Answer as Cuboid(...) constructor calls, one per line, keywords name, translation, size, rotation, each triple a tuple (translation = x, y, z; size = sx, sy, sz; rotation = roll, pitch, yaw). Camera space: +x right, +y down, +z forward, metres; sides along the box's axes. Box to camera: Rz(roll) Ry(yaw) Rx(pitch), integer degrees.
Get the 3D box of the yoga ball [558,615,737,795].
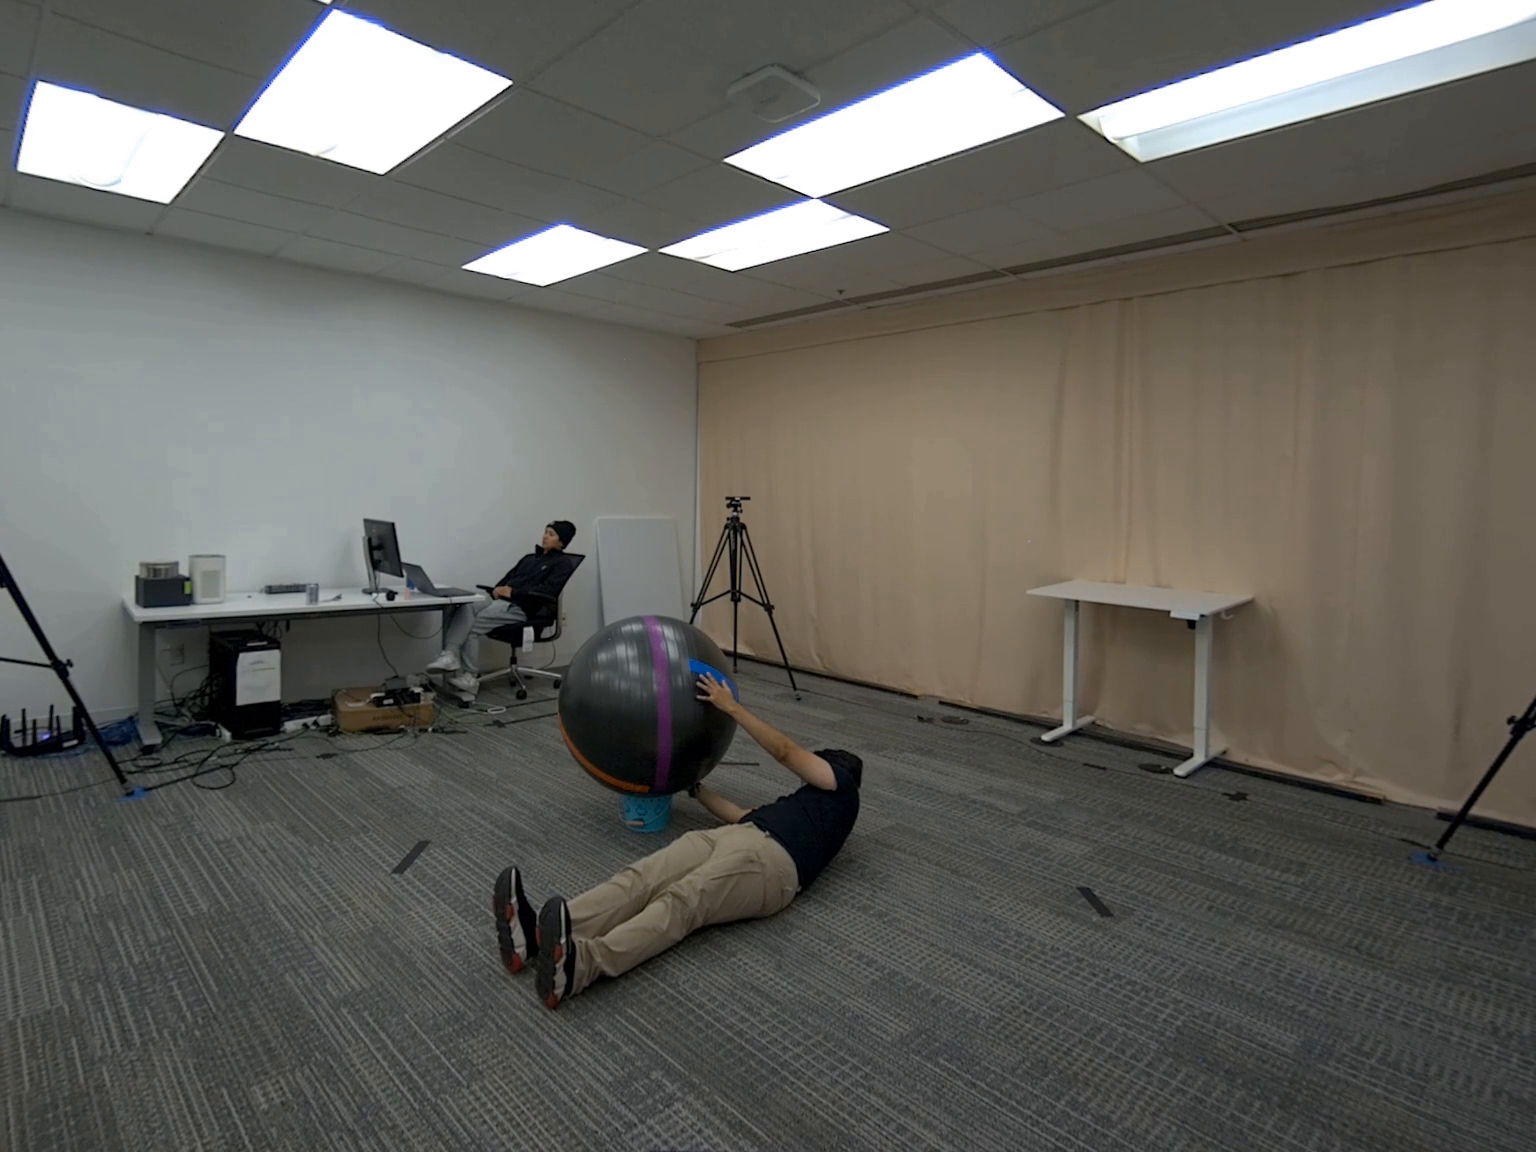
Cuboid(name="yoga ball", translation=(-0.511, 0.552, 3.570), size=(0.757, 0.755, 0.761), rotation=(1, 5, -1))
